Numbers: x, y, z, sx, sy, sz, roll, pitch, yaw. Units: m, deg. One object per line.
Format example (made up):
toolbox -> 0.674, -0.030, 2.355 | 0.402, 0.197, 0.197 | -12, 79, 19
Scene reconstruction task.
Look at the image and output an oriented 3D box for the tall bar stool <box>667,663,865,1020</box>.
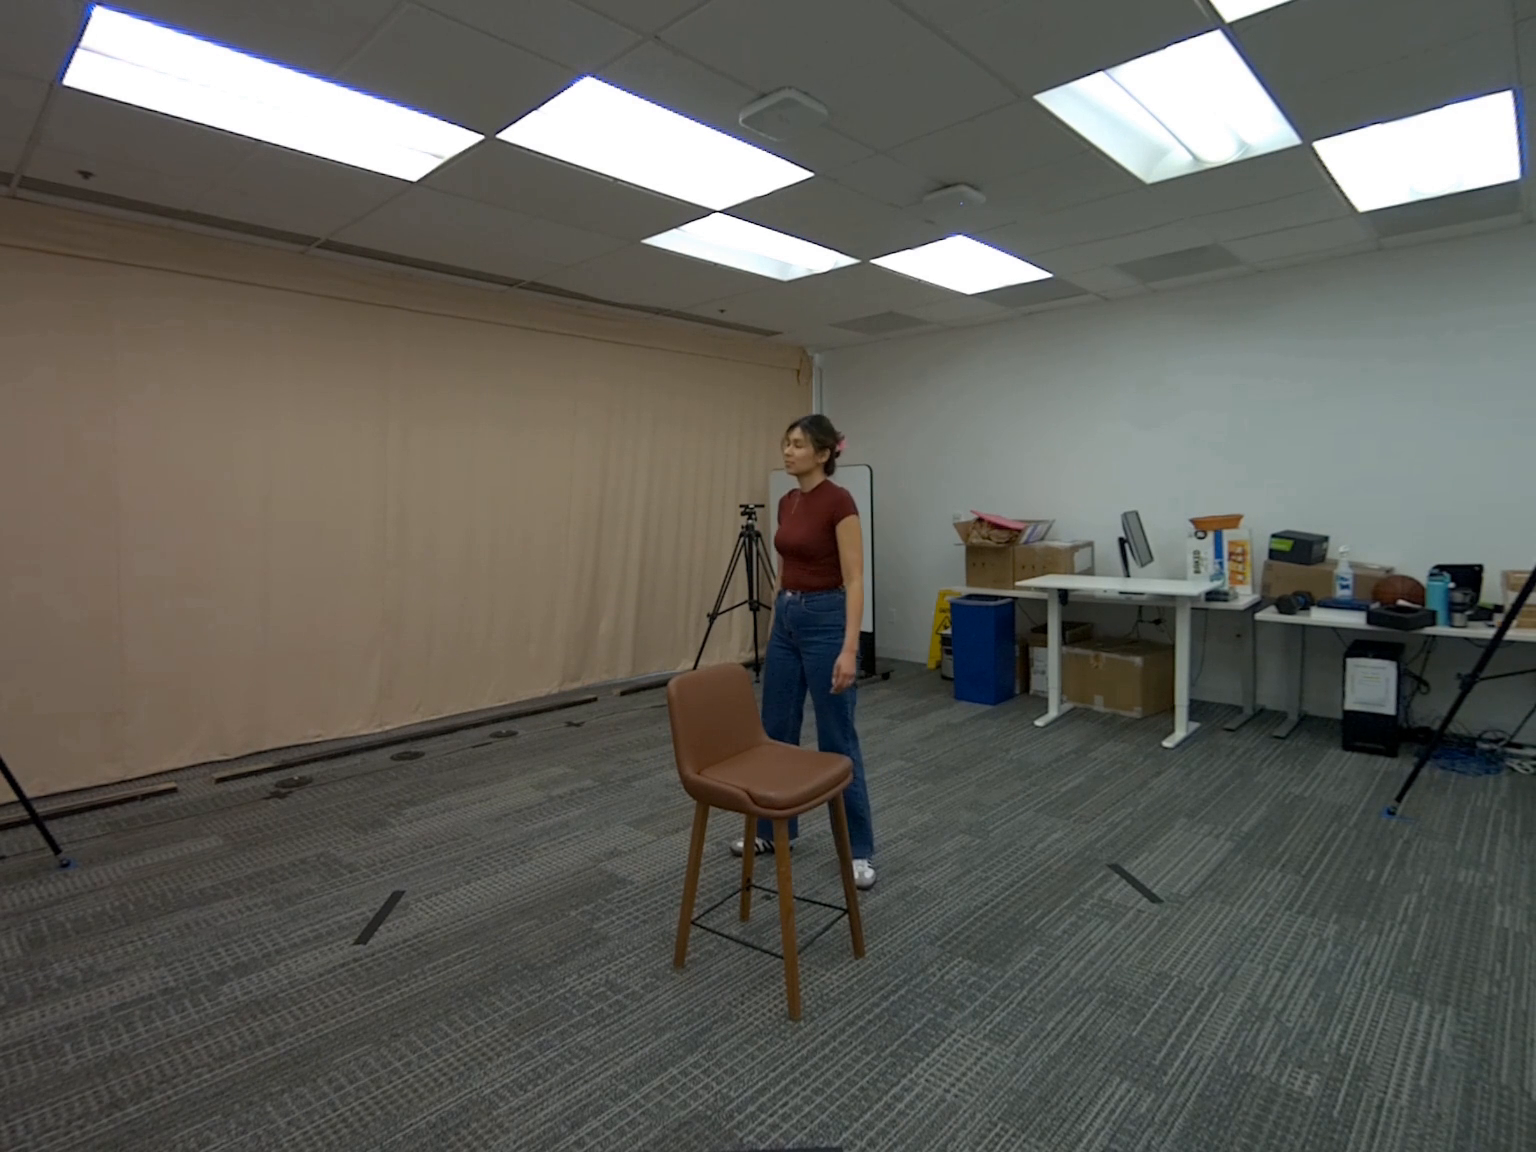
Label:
tall bar stool -> -0.011, 0.749, 2.534 | 0.482, 0.888, 0.443 | 0, 3, 36
